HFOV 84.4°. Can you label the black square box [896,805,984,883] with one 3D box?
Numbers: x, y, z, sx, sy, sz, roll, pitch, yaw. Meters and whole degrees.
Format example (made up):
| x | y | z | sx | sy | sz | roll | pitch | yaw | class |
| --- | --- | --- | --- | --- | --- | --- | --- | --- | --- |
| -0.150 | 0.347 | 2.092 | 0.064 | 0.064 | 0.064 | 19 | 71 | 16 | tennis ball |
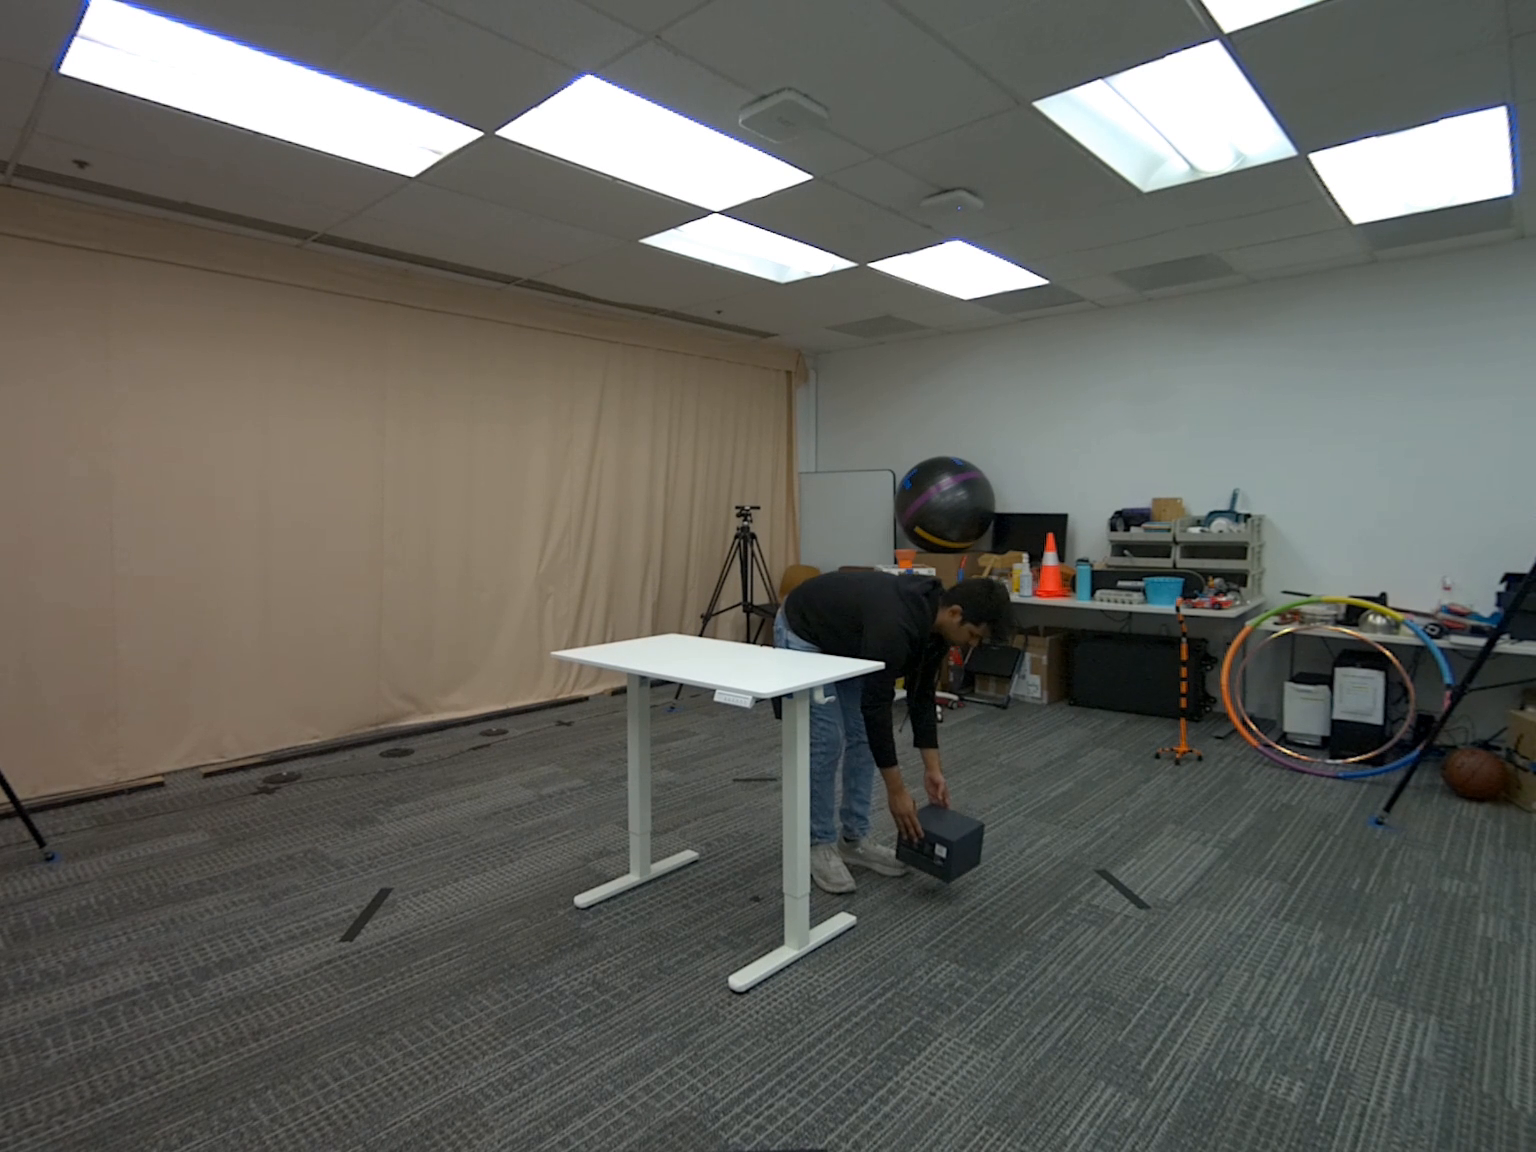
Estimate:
| x | y | z | sx | sy | sz | roll | pitch | yaw | class |
| --- | --- | --- | --- | --- | --- | --- | --- | --- | --- |
| 0.628 | 0.934 | 2.997 | 0.224 | 0.155 | 0.221 | 11 | 10 | 41 | black square box |
